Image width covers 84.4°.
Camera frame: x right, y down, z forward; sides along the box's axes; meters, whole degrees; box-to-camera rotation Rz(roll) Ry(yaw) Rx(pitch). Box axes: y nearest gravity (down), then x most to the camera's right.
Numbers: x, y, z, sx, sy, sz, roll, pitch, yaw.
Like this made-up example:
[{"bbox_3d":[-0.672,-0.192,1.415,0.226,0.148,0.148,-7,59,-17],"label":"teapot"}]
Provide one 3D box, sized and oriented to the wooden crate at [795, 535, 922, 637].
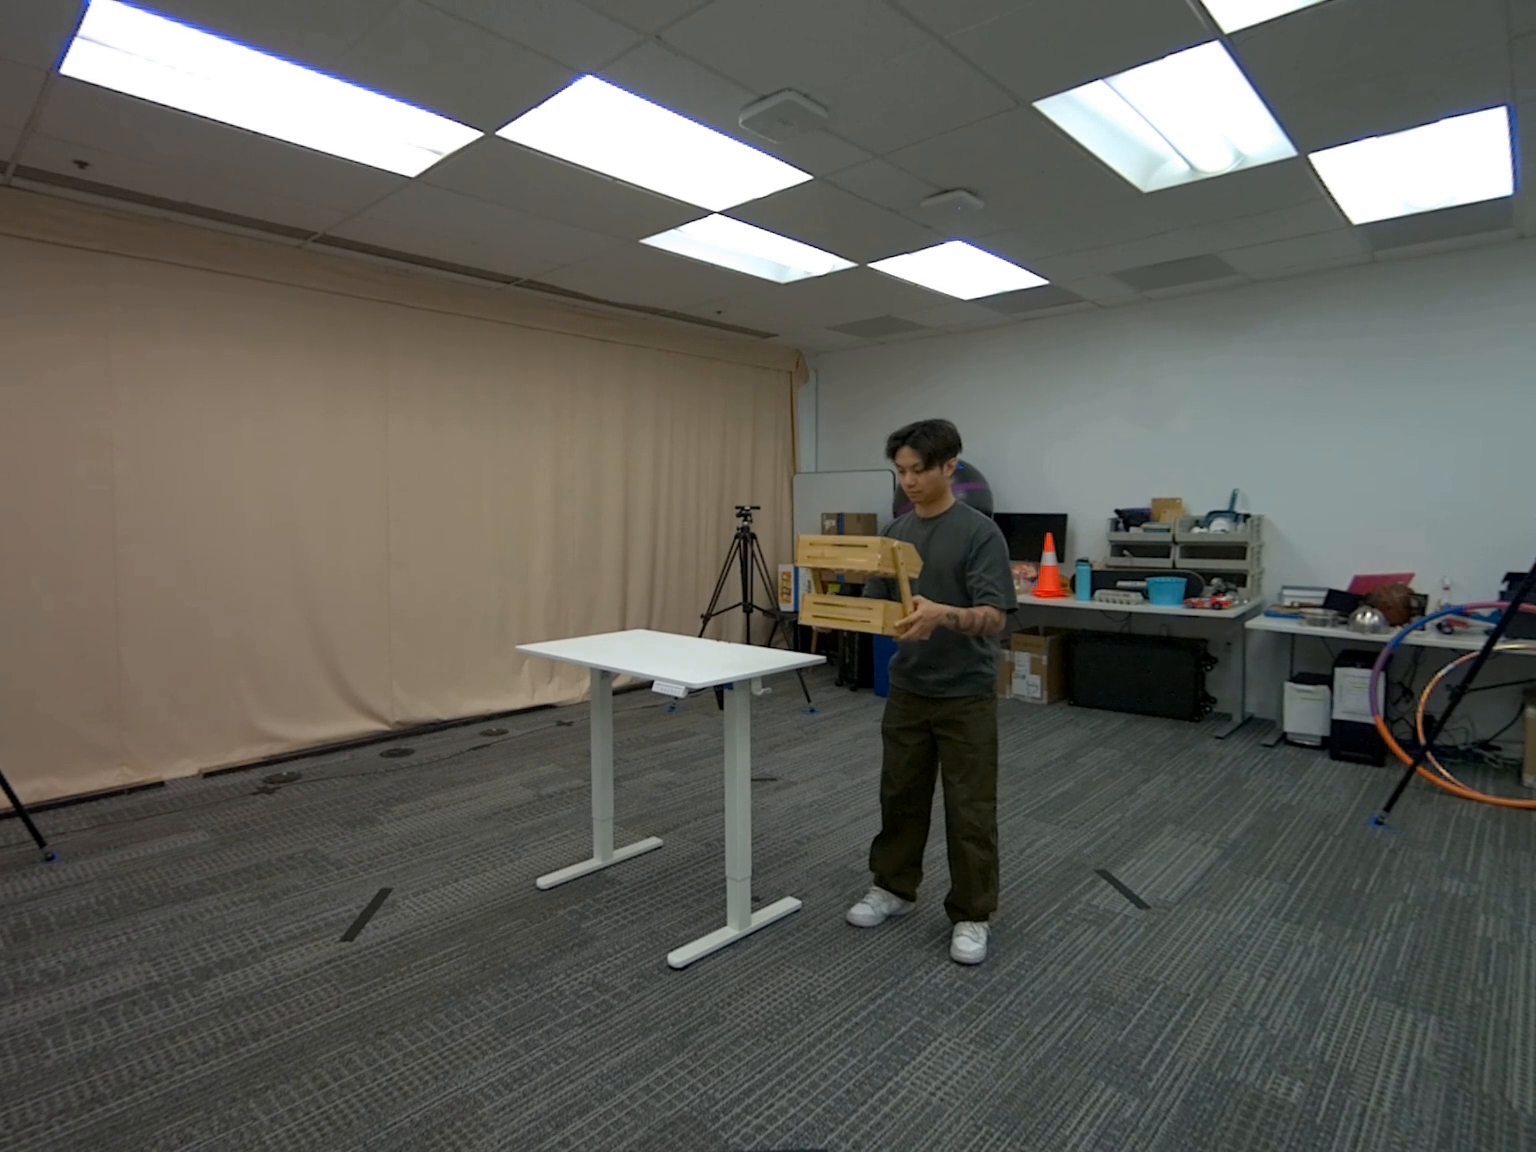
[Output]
[{"bbox_3d":[0.293,0.031,2.468,0.335,0.274,0.291,3,-4,43],"label":"wooden crate"}]
